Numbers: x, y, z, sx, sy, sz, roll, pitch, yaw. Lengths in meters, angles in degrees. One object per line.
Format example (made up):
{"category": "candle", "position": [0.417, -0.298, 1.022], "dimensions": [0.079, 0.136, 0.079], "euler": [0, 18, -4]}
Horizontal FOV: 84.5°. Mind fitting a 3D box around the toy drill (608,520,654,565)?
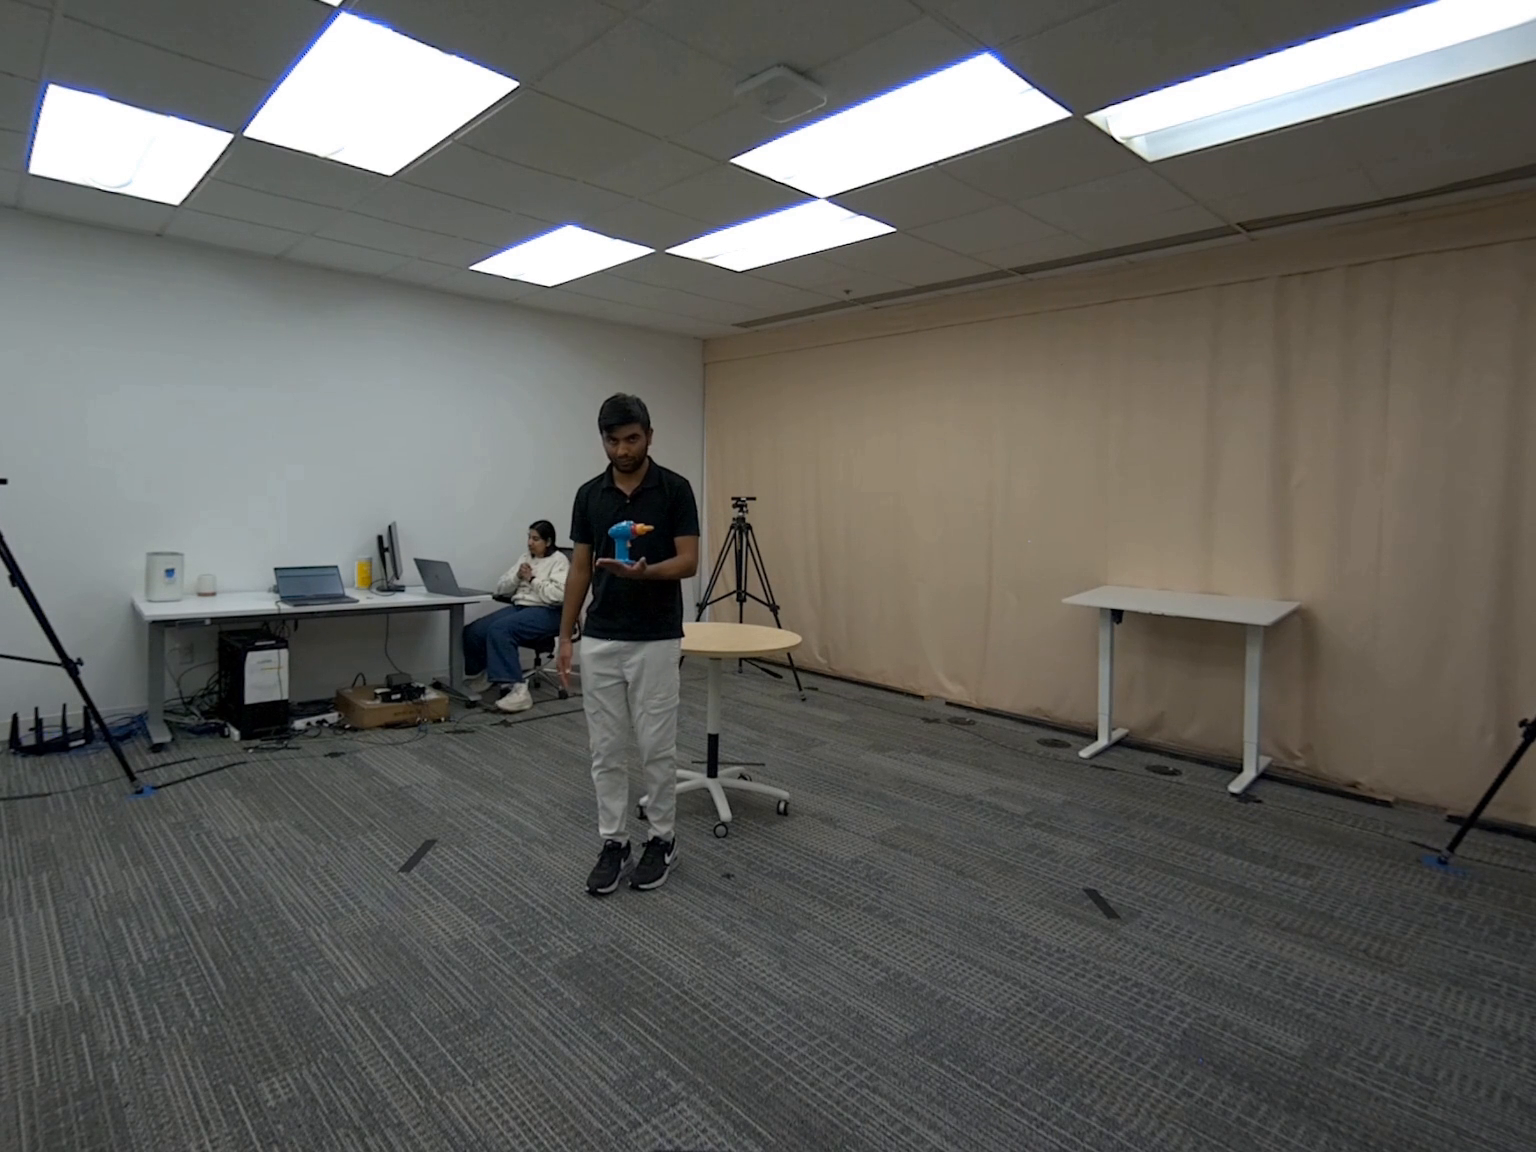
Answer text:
{"category": "toy drill", "position": [-0.438, -0.107, 2.718], "dimensions": [0.172, 0.146, 0.060], "euler": [-5, 3, 23]}
